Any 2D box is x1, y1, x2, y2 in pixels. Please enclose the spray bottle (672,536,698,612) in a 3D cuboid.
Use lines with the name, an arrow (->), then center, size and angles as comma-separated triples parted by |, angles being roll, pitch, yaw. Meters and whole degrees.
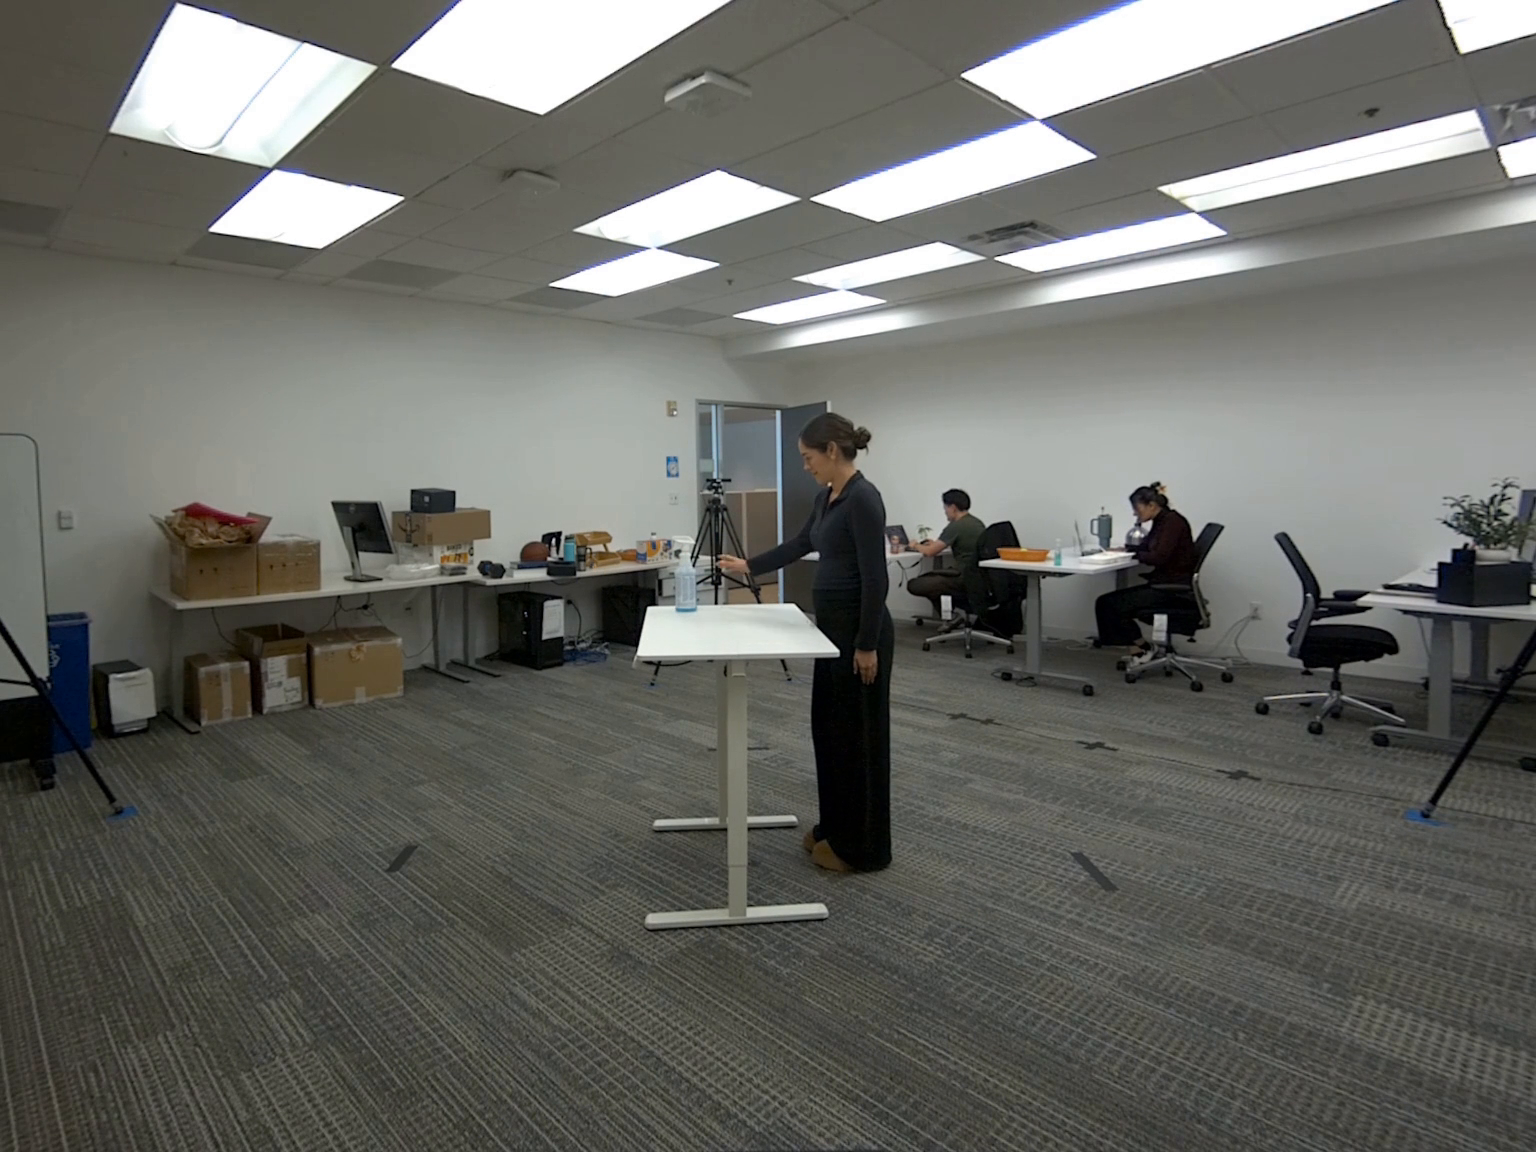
spray bottle -> -0.325, -0.009, 3.375 | 0.091, 0.296, 0.086 | 1, 6, 17
